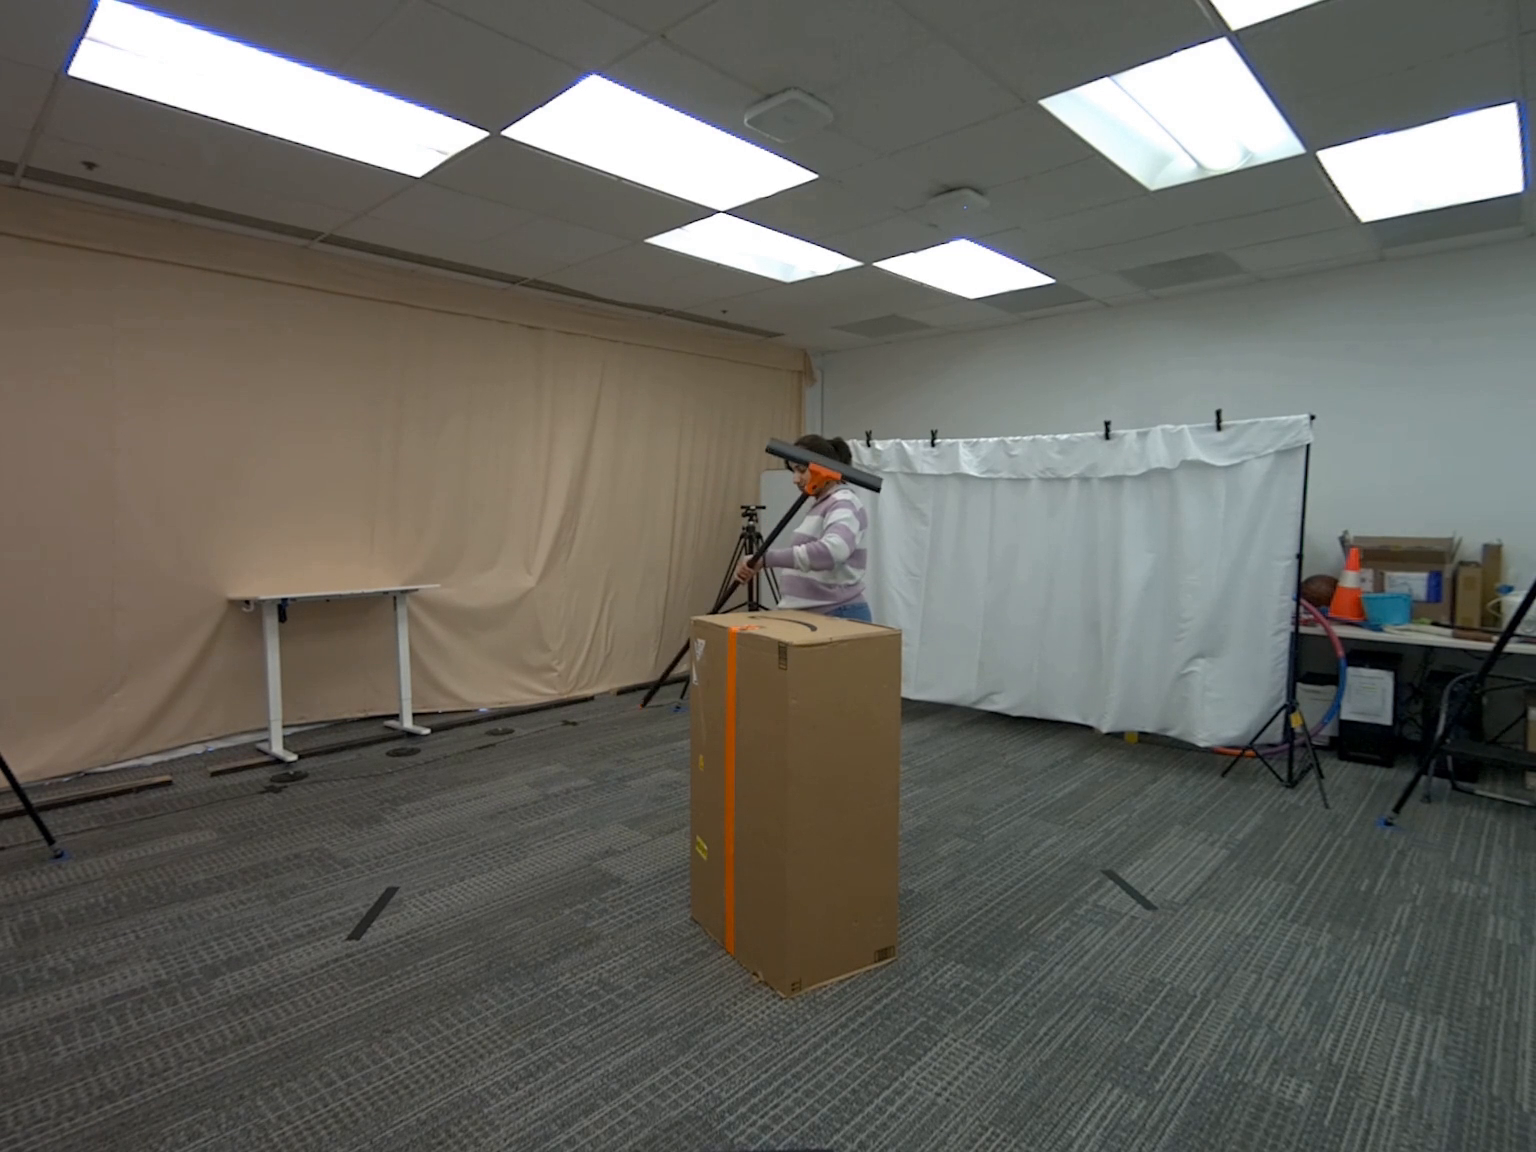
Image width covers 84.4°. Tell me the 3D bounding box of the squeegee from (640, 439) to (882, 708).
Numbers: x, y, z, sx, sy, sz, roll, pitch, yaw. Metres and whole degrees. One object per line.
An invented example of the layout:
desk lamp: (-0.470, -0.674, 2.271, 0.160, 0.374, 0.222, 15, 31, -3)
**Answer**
squeegee: (-0.204, 0.121, 3.190, 0.425, 0.054, 1.543, 16, -48, -26)
